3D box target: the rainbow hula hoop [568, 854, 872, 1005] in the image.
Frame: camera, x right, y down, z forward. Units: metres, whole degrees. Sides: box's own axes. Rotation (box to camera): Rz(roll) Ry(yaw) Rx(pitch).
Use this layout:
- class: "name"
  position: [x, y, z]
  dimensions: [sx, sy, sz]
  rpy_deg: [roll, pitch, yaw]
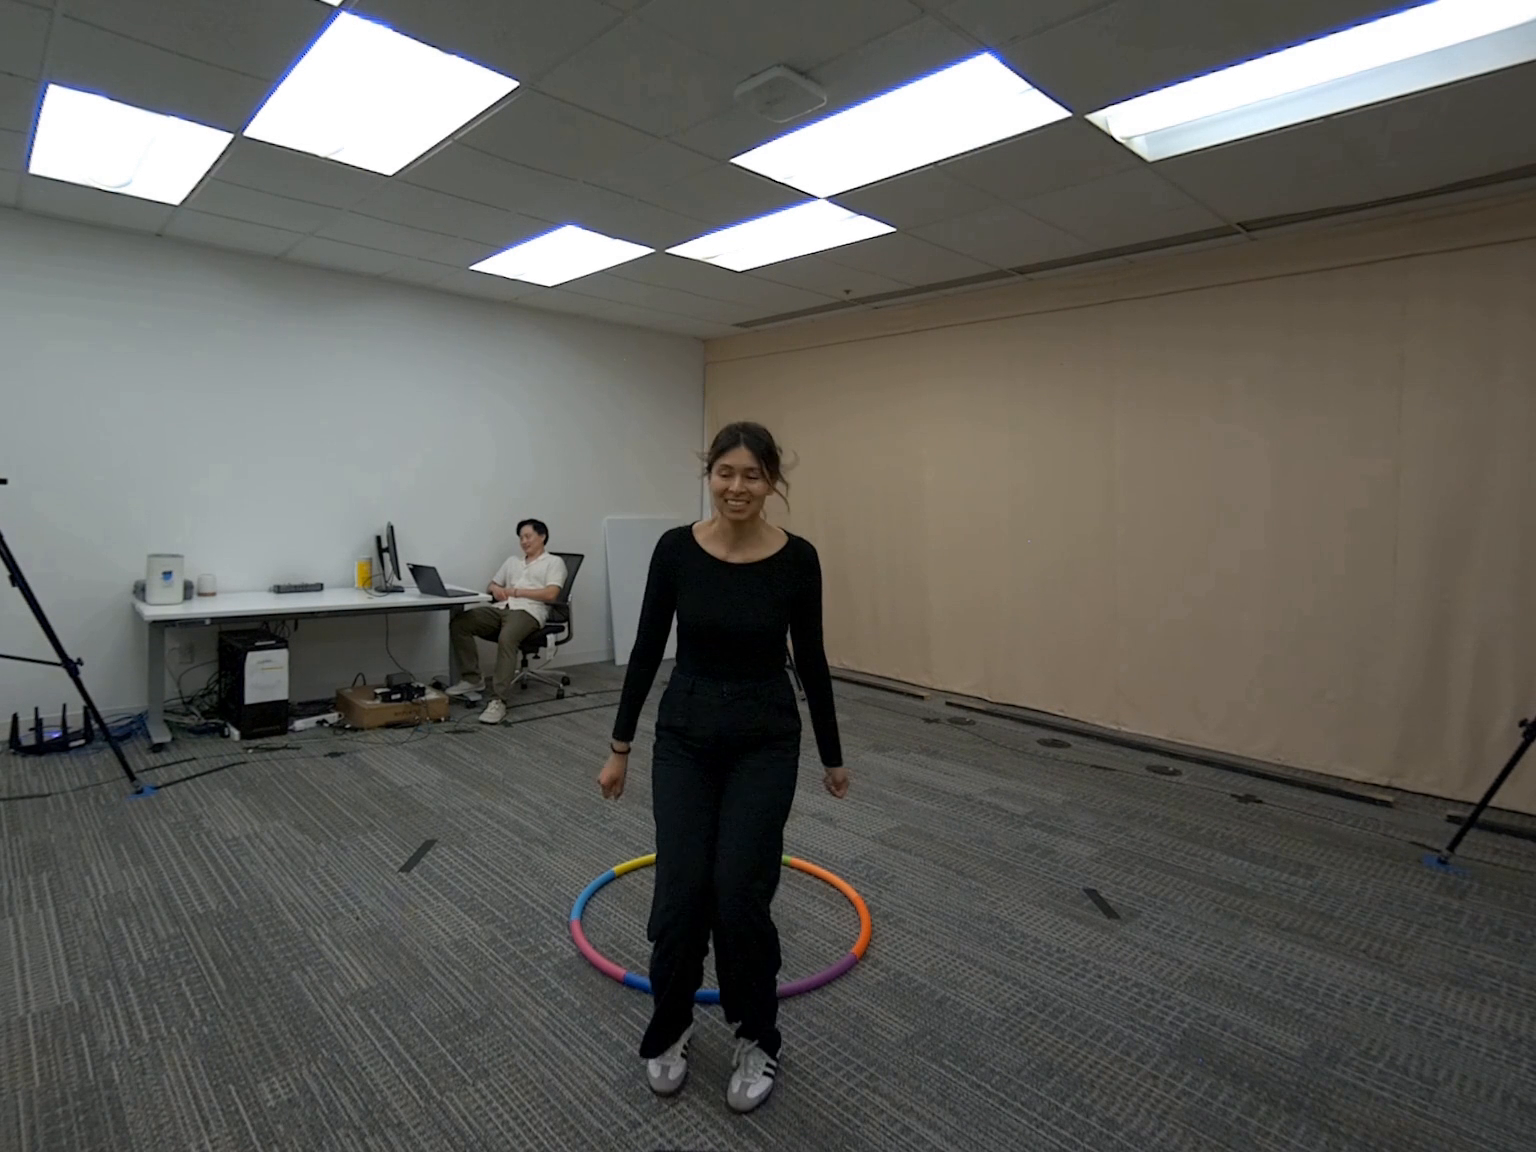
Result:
- class: "rainbow hula hoop"
  position: [-0.164, 1.106, 2.798]
  dimensions: [0.978, 0.035, 0.982]
  rpy_deg: [1, 5, -1]
